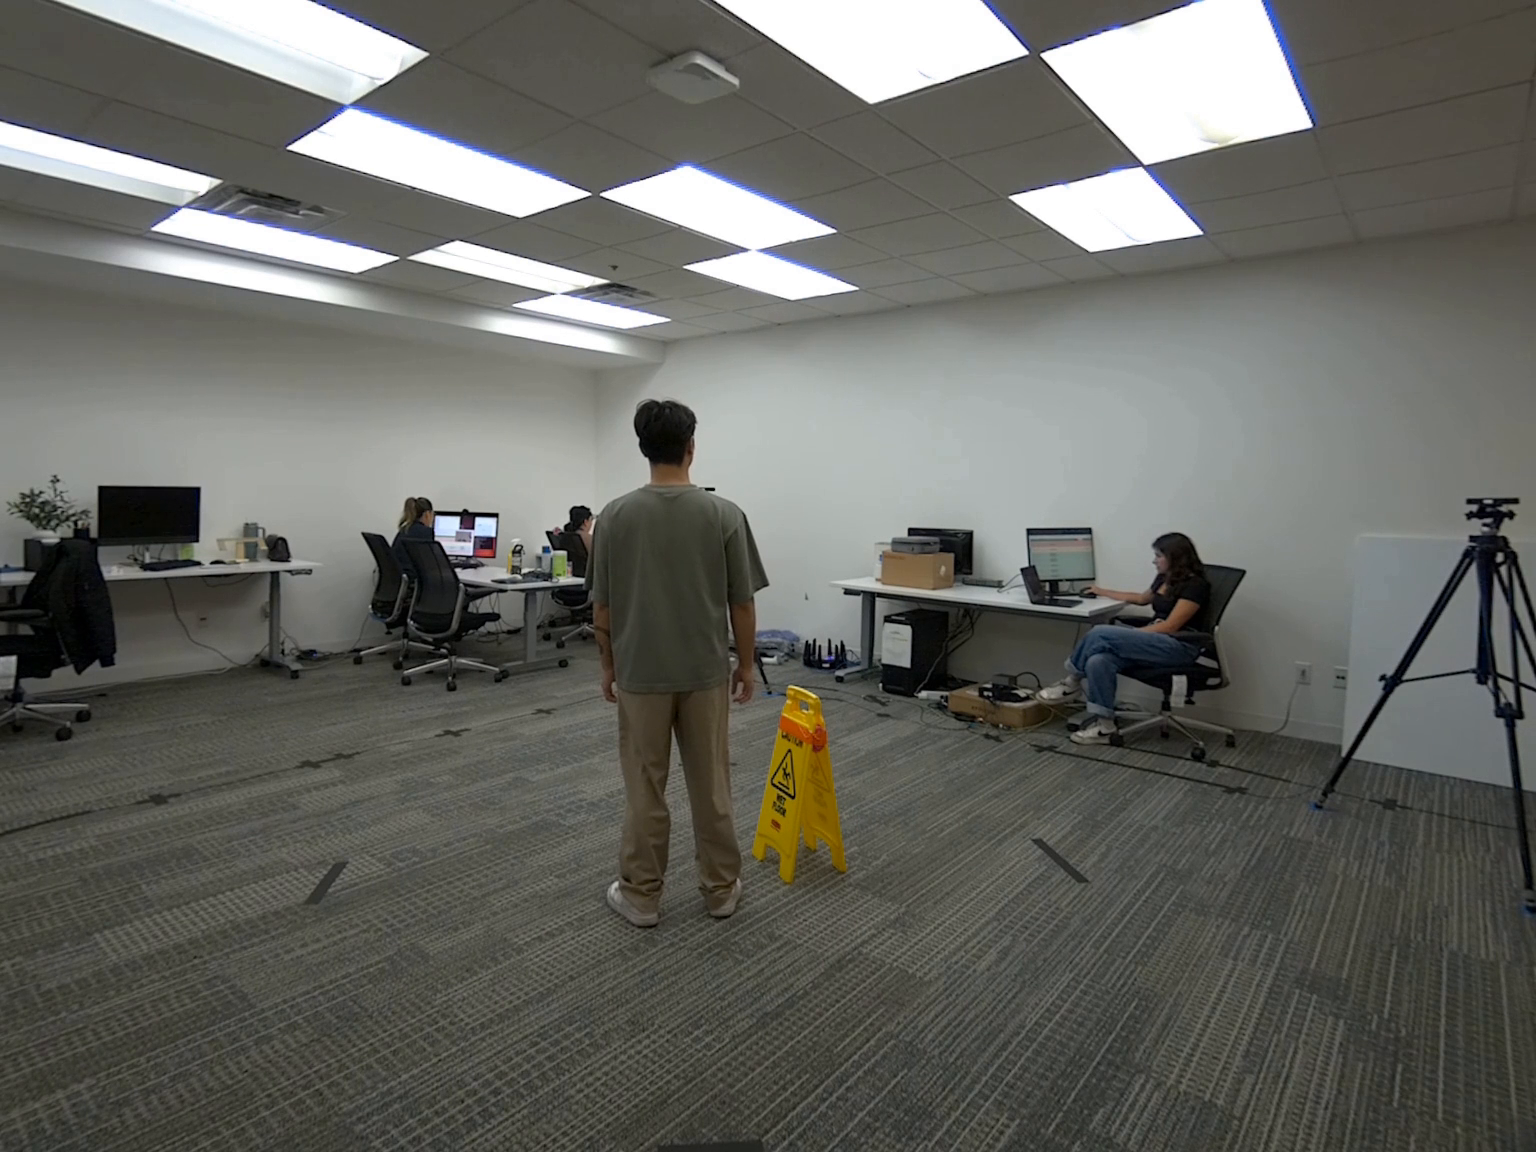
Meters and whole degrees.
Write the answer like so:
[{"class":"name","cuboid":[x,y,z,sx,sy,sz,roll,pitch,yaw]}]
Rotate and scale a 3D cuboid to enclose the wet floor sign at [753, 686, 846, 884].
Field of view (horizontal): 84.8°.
[{"class":"wet floor sign","cuboid":[0.112,0.740,3.155,0.282,0.645,0.290,0,3,-27]}]
